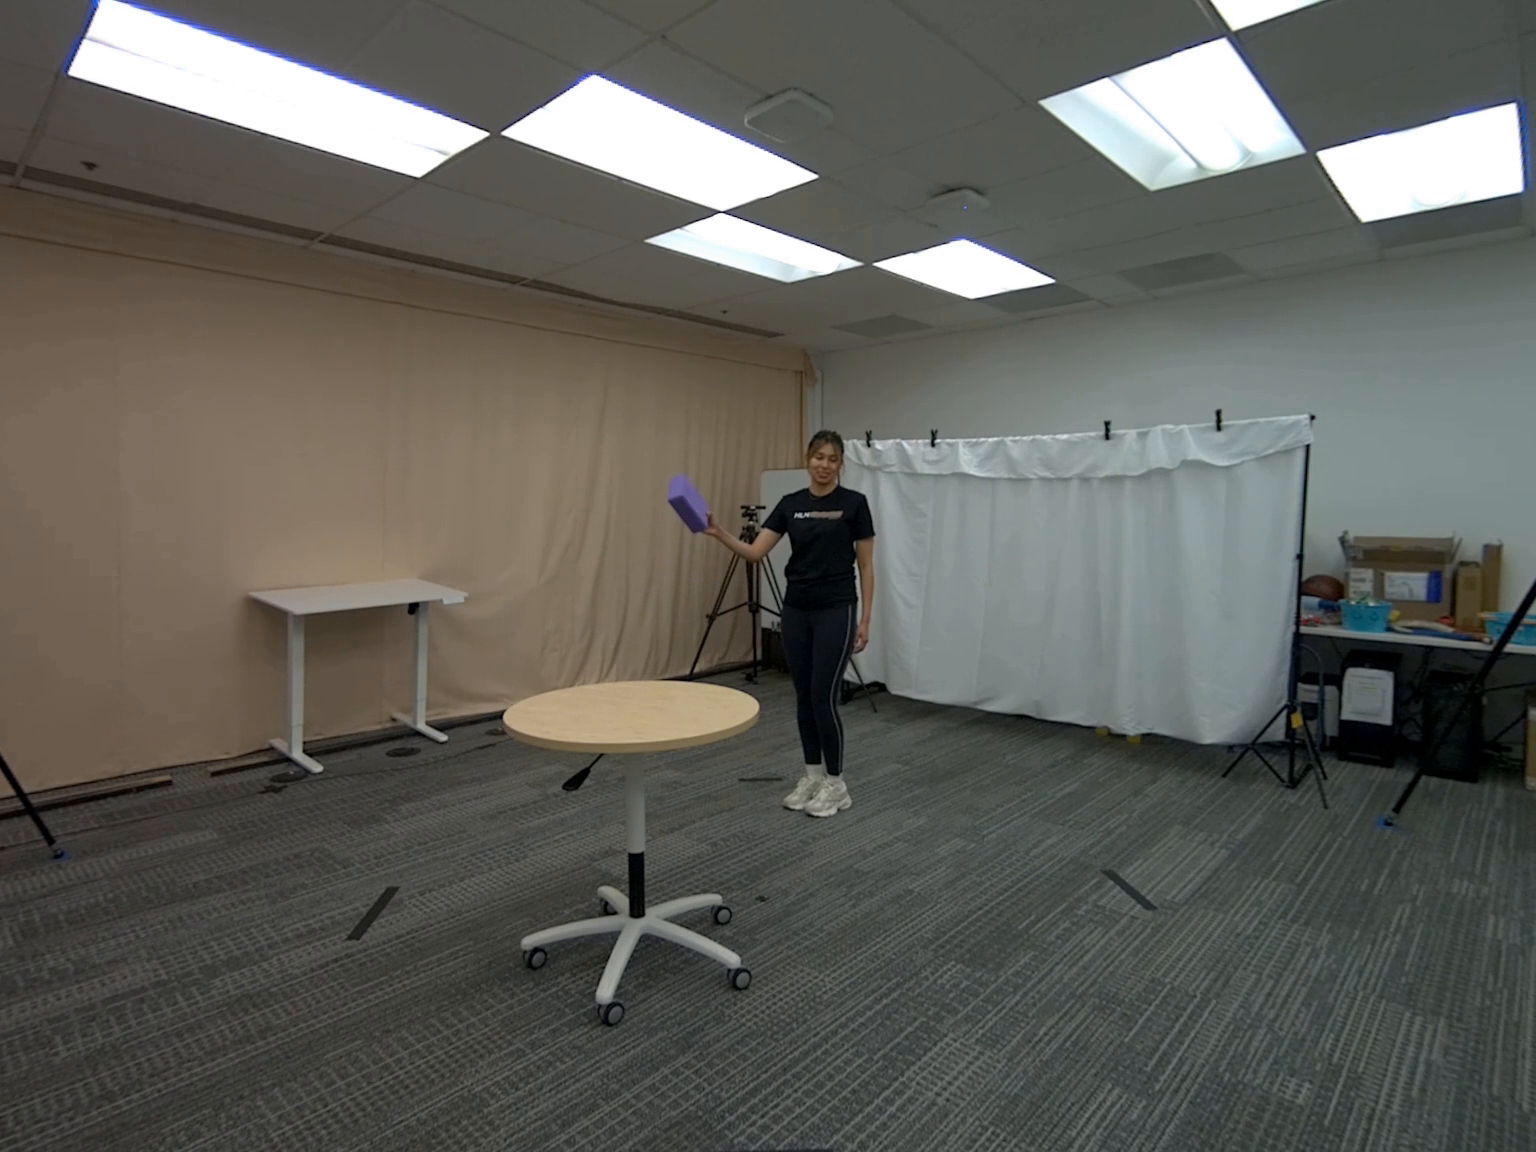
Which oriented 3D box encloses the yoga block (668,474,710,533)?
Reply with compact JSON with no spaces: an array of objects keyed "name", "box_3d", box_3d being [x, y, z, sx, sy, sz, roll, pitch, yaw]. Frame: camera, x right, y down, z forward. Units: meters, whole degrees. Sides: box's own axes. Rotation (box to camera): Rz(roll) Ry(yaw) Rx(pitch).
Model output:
[{"name":"yoga block","box_3d":[-0.339,-0.300,3.636,0.078,0.151,0.222,-18,-47,20]}]
